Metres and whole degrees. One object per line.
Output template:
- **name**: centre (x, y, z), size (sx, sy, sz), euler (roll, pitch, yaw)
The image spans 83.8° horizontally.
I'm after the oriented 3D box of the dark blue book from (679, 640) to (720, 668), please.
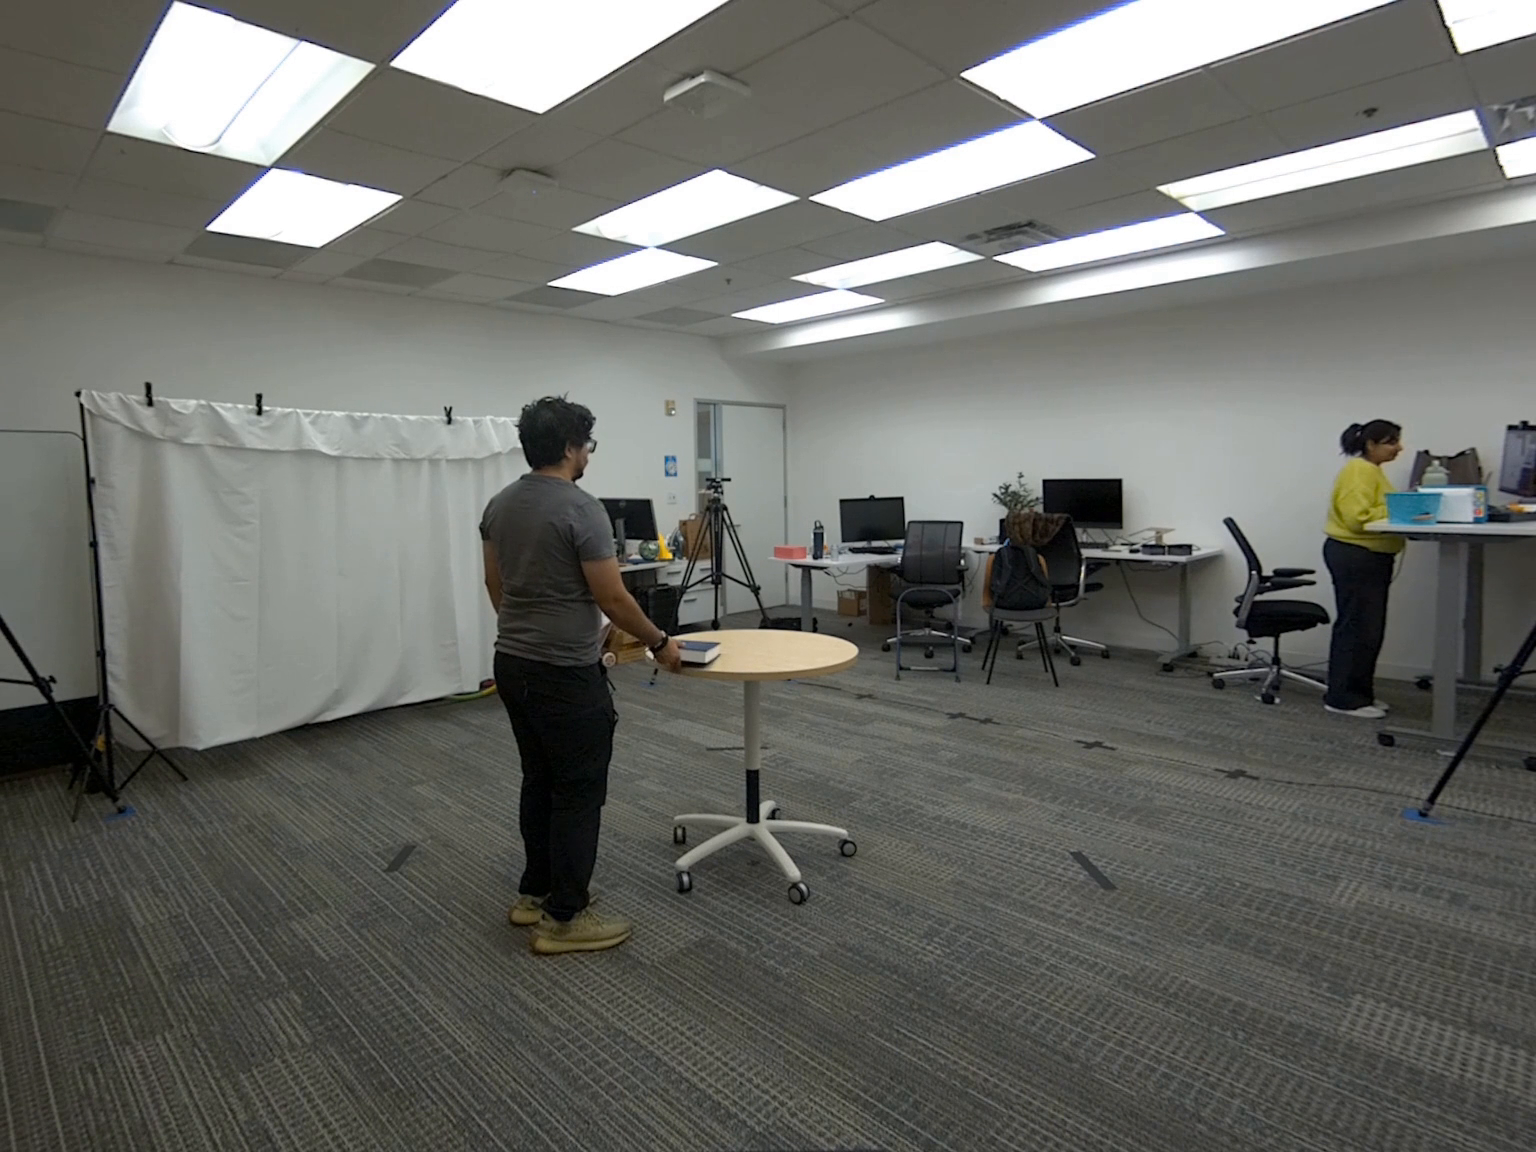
- **dark blue book**: centre (-0.251, 0.257, 2.887), size (0.165, 0.045, 0.243), euler (3, 3, 7)
